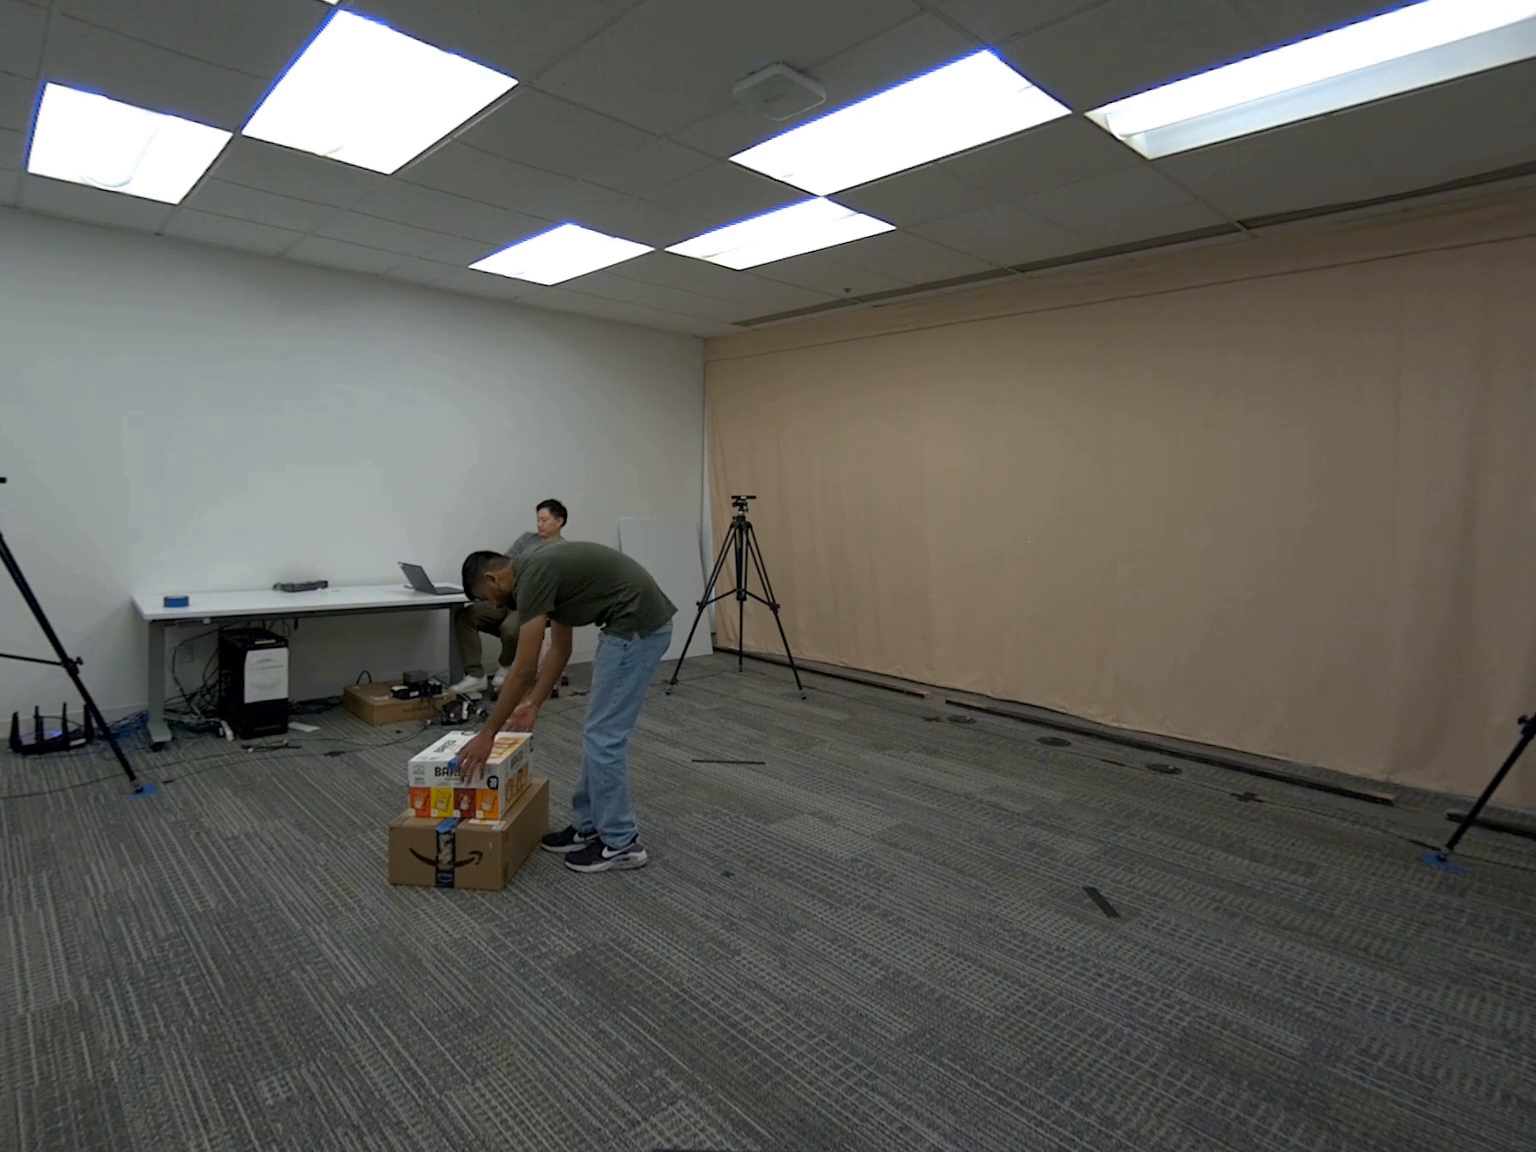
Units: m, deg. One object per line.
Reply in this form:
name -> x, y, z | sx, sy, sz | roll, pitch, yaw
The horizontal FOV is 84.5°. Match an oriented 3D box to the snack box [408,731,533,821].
snack box -> -1.126, 0.751, 3.220 | 0.341, 0.205, 0.405 | 1, 5, 3
